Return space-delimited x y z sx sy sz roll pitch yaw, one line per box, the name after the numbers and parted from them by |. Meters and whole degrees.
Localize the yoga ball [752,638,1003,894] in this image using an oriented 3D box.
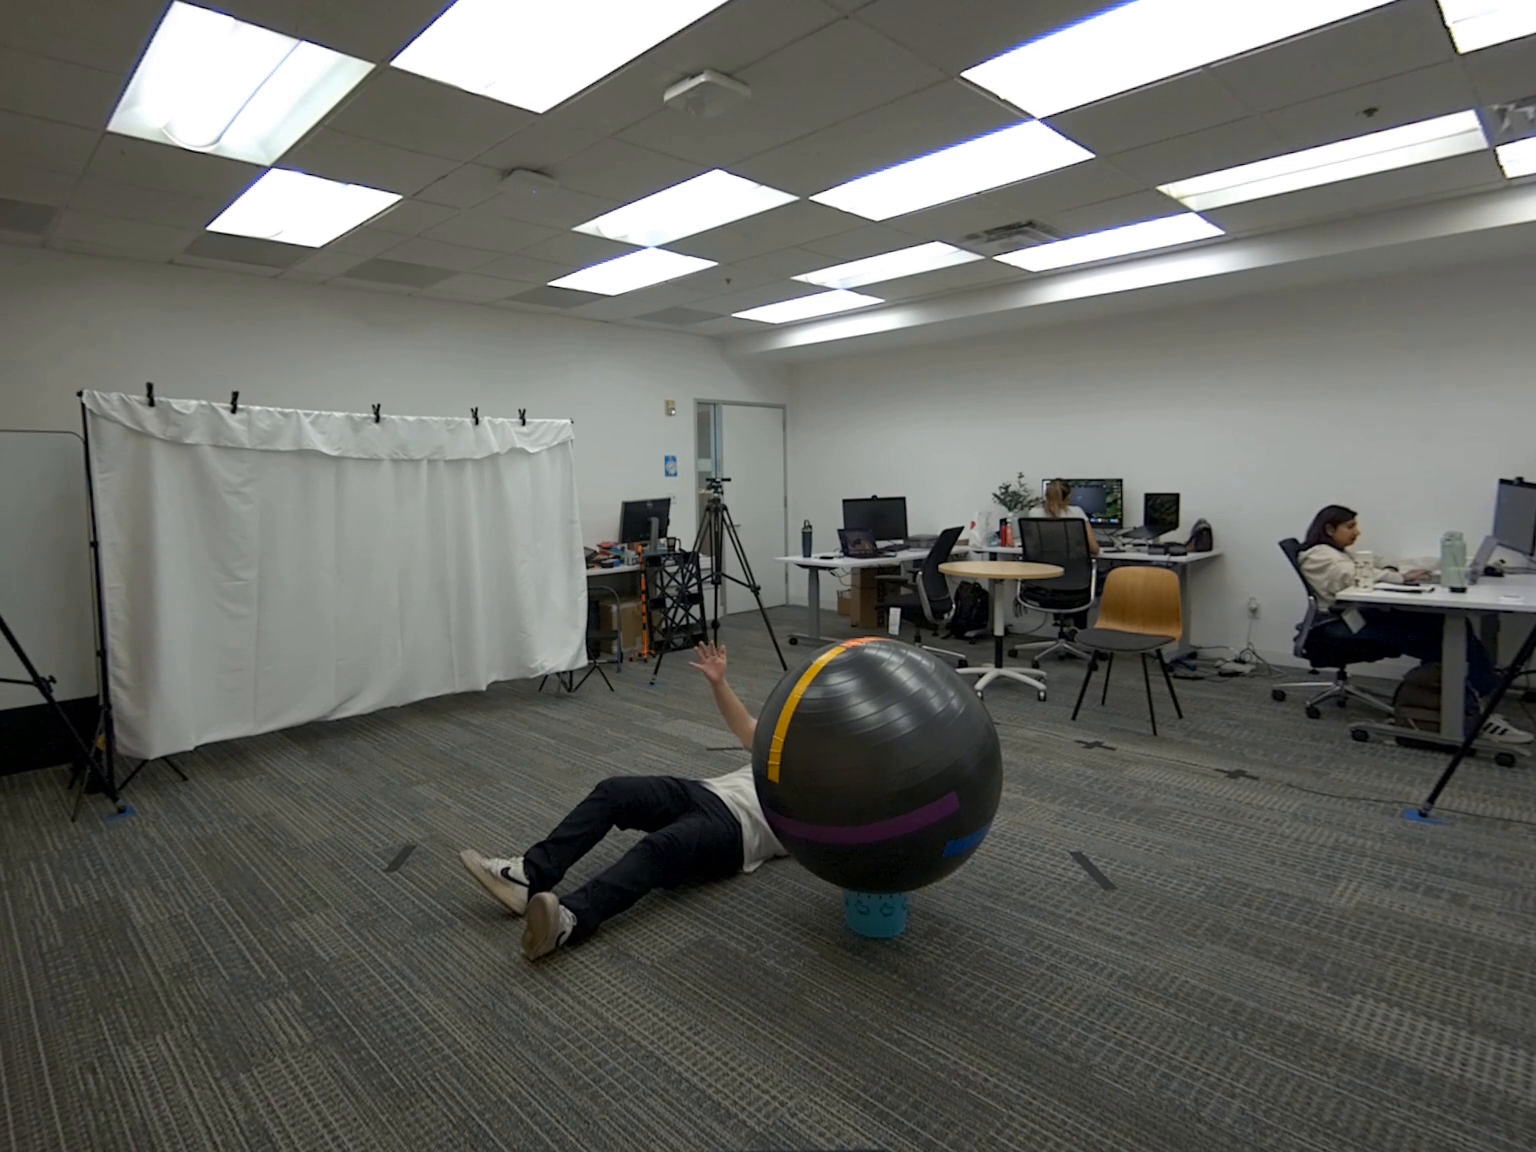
0.337 0.580 2.623 0.757 0.755 0.762 -1 5 -2 | yoga ball
